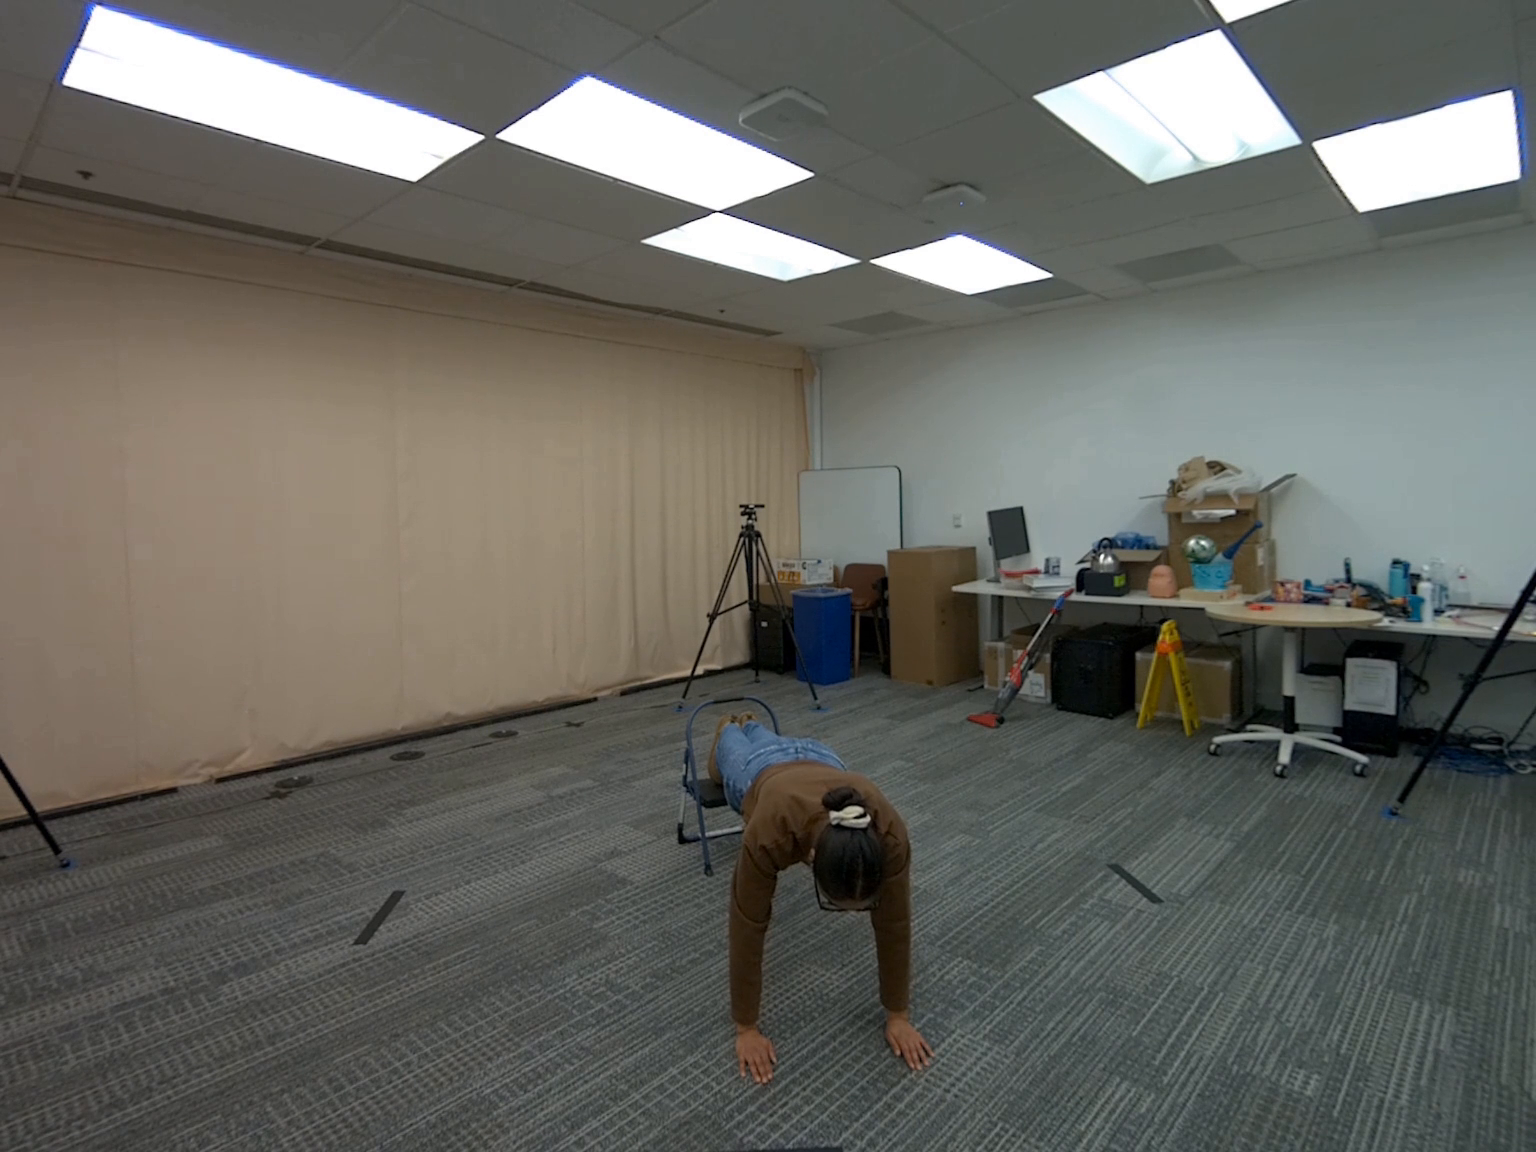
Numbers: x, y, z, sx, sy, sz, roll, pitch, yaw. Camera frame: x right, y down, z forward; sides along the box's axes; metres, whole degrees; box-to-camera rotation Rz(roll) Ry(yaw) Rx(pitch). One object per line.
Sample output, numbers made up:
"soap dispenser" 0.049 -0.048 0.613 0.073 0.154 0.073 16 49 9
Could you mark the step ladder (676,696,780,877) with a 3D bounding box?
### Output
"step ladder" -0.120 0.806 3.393 0.420 0.605 0.358 -3 4 -25
